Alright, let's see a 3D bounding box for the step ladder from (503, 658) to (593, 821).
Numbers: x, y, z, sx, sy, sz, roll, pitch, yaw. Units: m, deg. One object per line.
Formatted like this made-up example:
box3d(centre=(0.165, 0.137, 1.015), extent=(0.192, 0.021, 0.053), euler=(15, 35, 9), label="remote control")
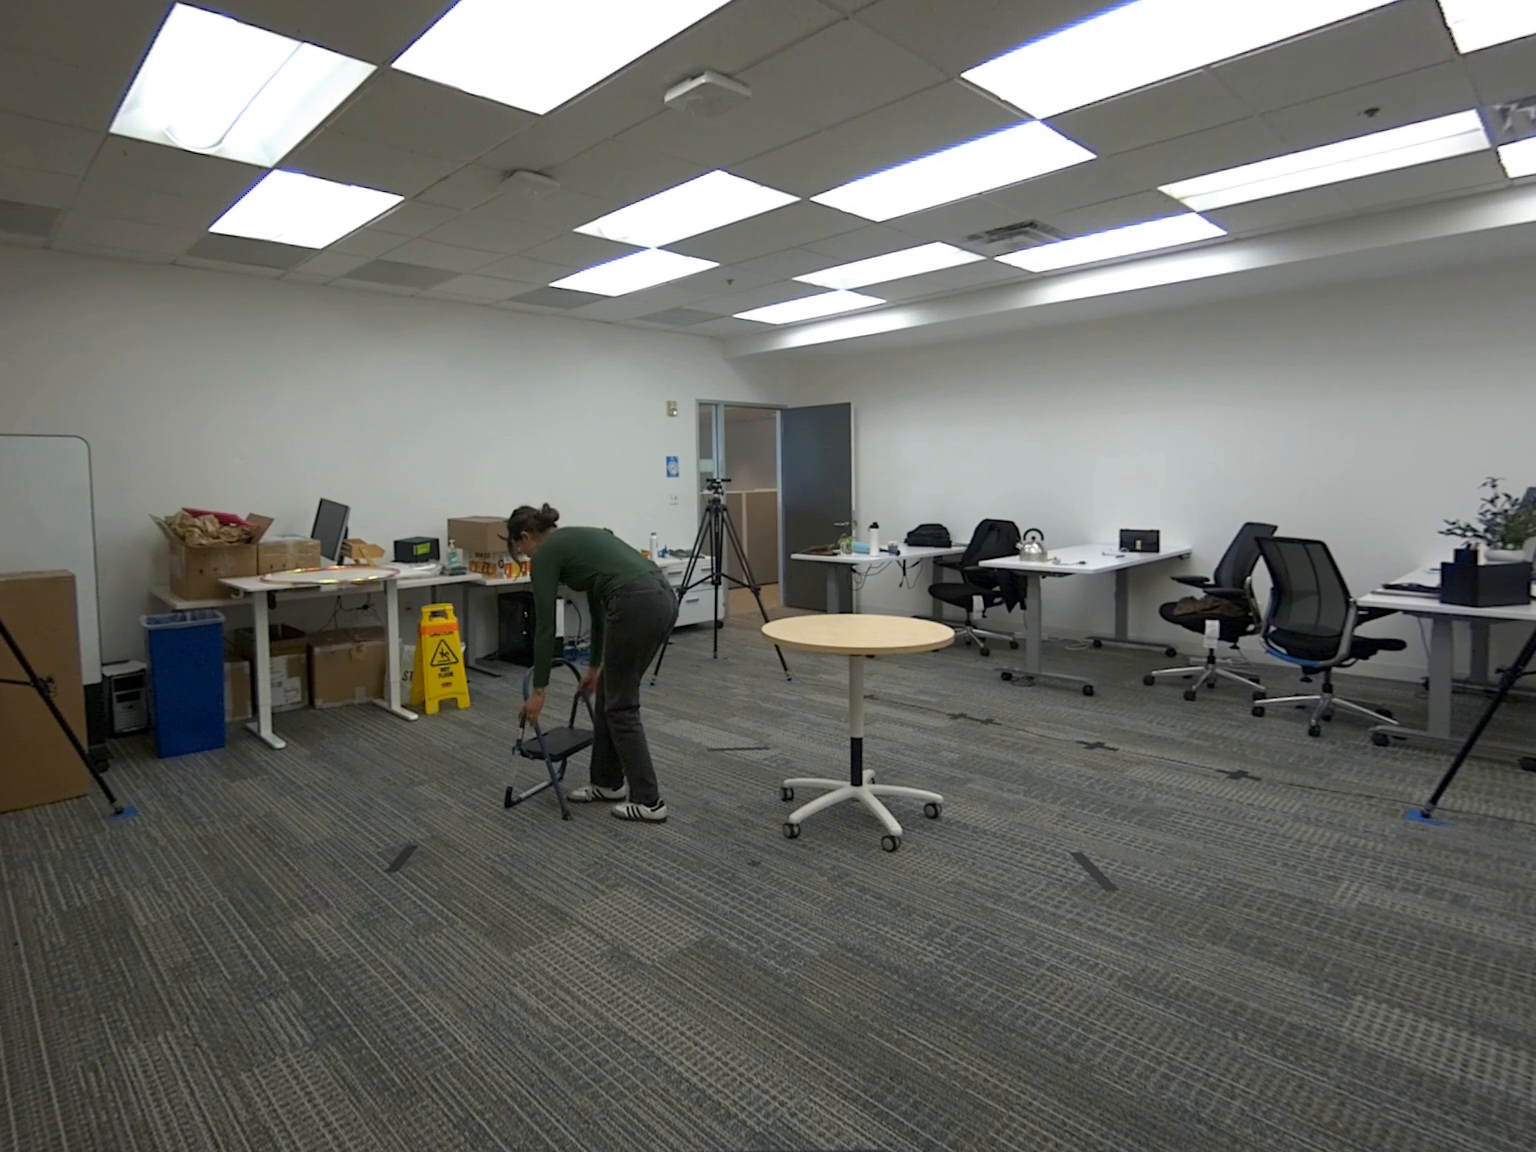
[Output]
box3d(centre=(-0.911, 0.681, 3.782), extent=(0.357, 0.604, 0.423), euler=(0, 4, 23), label="step ladder")
